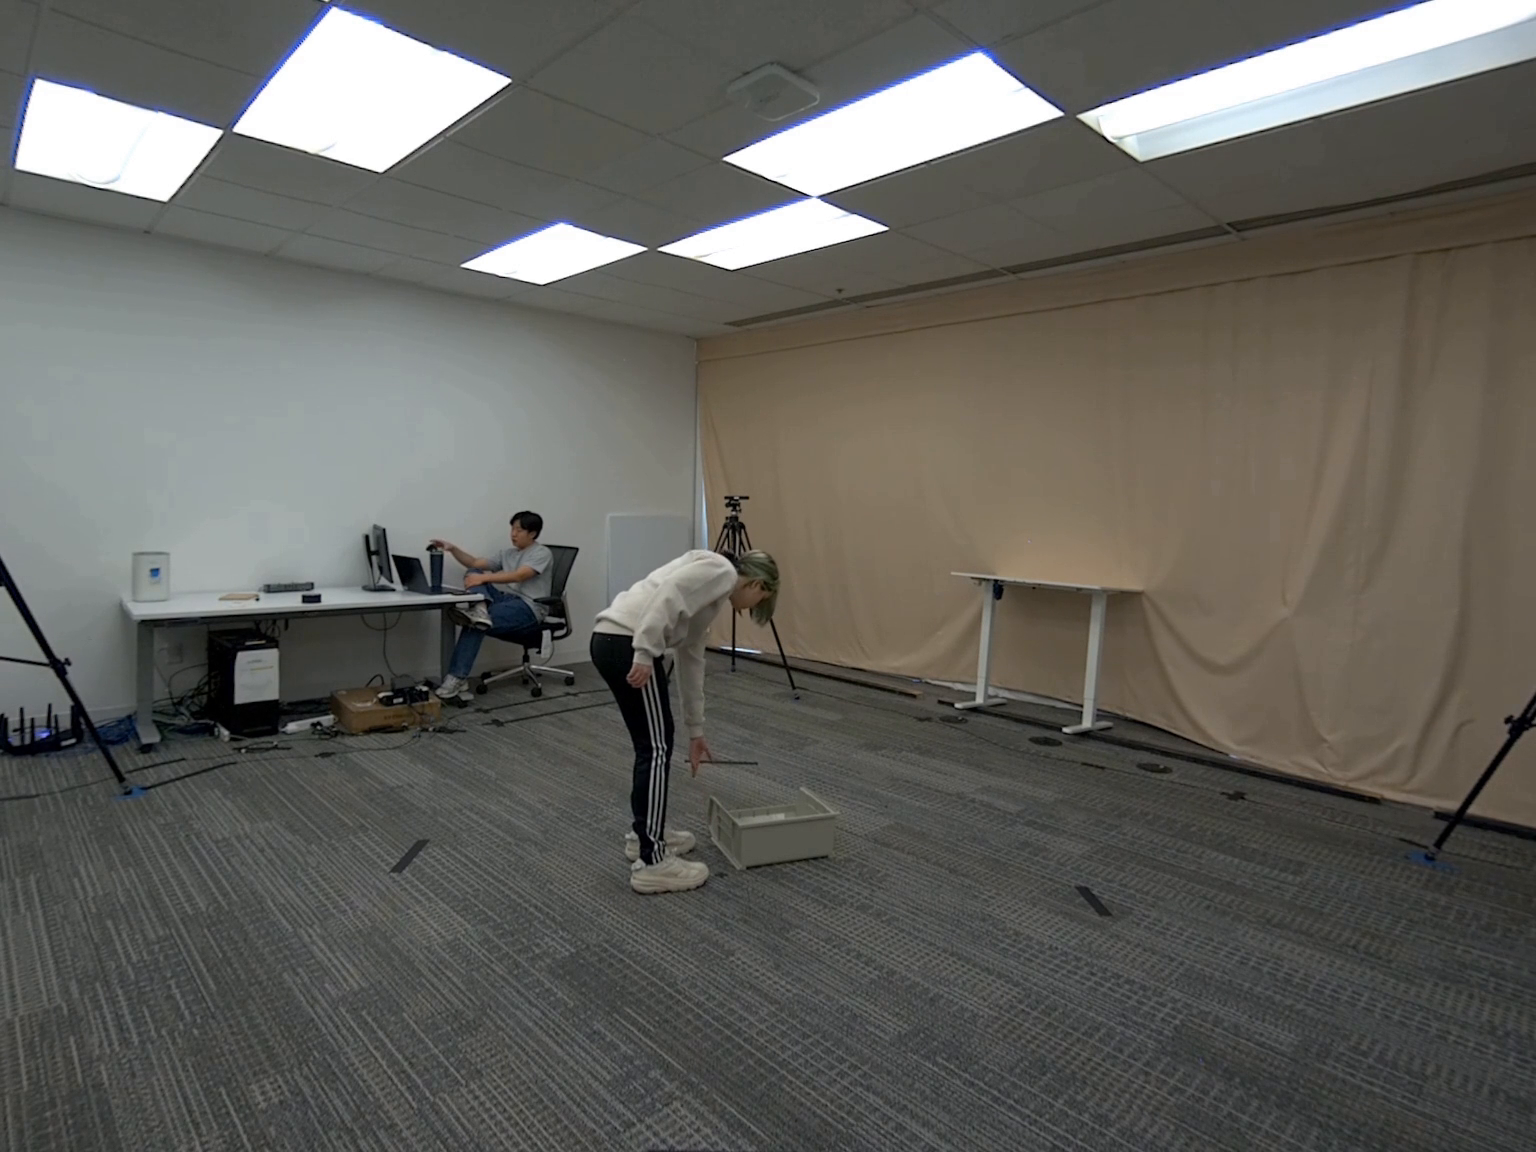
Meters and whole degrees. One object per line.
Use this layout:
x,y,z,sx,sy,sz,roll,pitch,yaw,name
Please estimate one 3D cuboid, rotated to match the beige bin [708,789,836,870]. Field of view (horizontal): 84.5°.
0.001,0.994,3.375,0.415,0.188,0.385,0,5,-22,beige bin
